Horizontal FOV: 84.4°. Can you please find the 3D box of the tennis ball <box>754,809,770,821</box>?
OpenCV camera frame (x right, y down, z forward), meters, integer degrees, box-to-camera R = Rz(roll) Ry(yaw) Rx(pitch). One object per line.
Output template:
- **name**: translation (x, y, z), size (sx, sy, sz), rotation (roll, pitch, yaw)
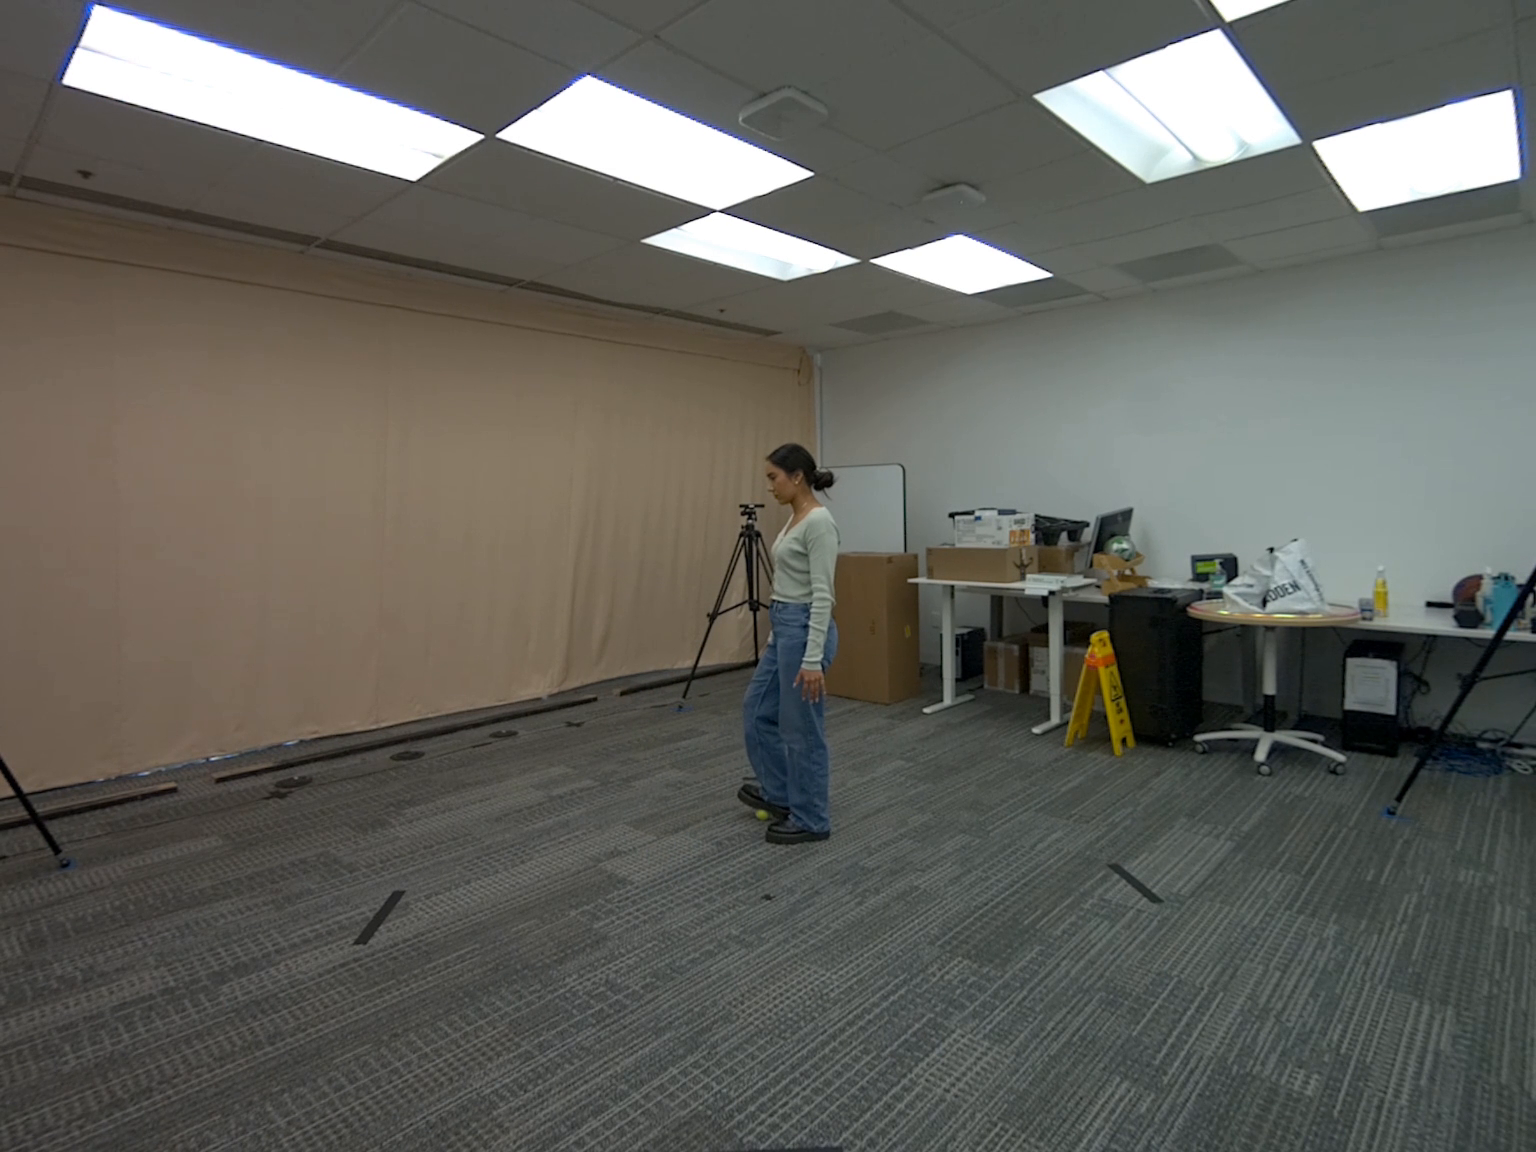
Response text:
- **tennis ball**: translation (-0.021, 1.055, 3.737), size (0.066, 0.066, 0.067), rotation (-1, 4, -2)
